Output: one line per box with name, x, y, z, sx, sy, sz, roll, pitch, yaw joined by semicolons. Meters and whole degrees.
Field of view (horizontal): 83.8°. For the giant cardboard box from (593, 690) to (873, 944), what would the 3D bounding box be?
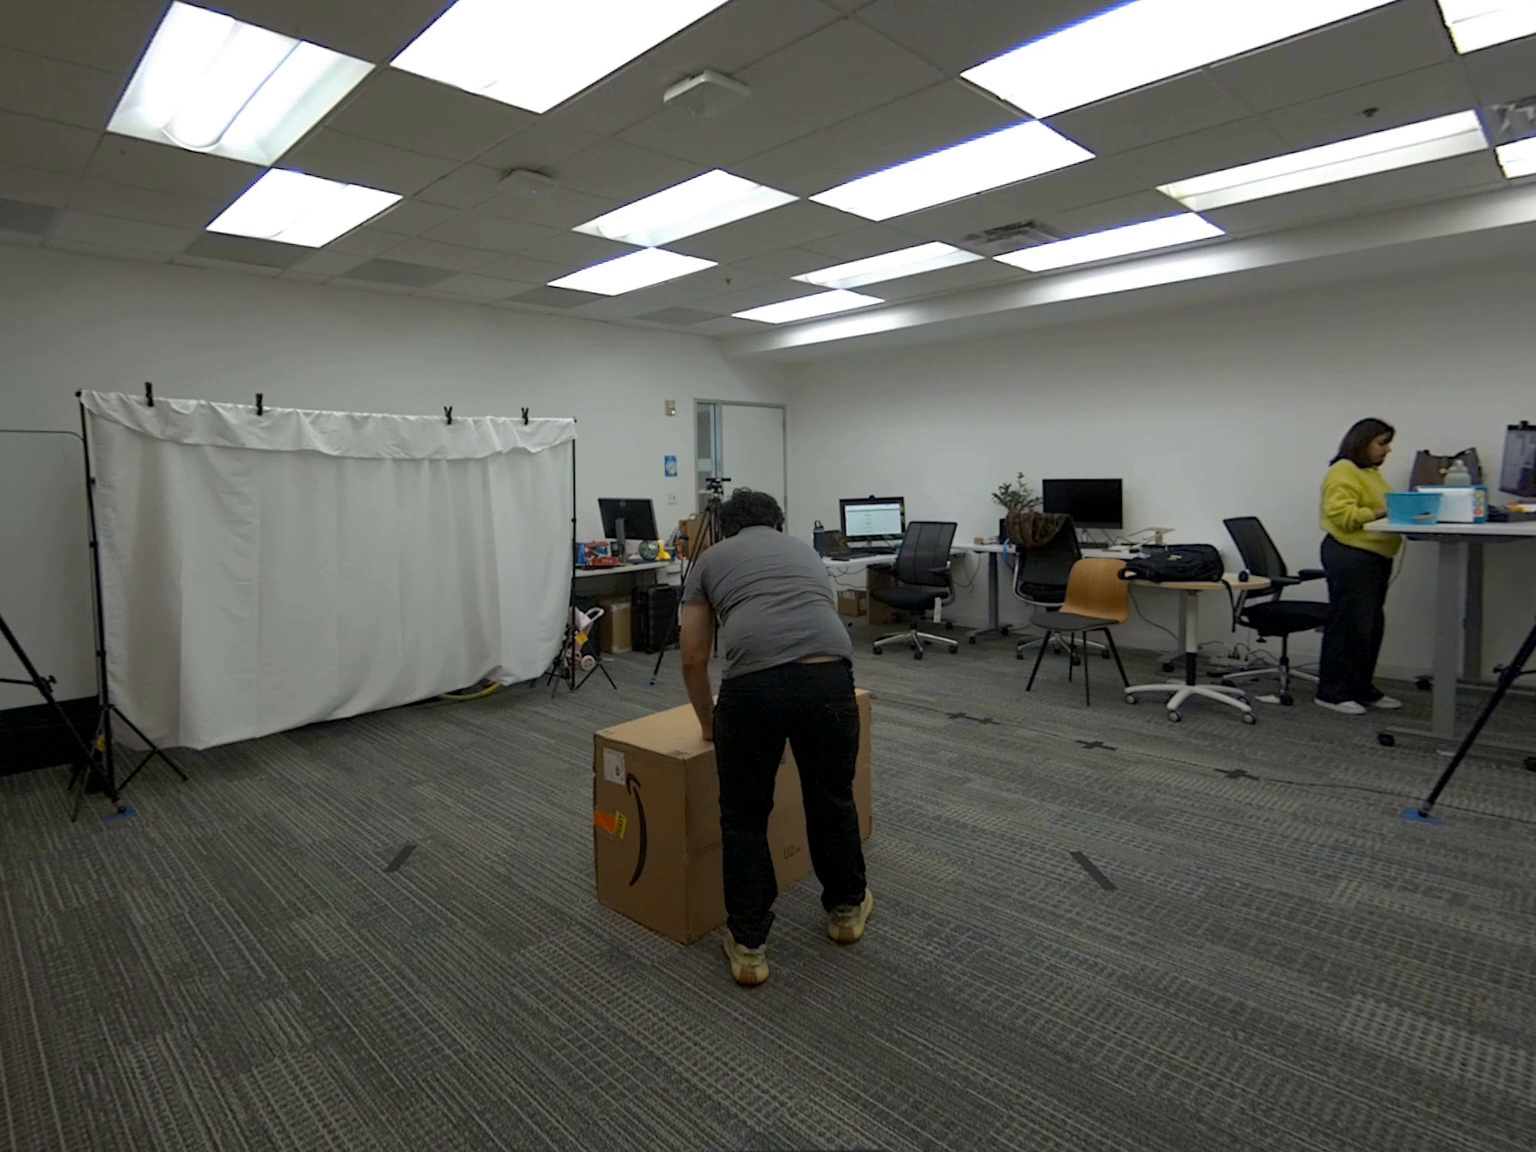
giant cardboard box;-0.090;0.759;3.062;0.439;0.575;1.000;3;7;40
